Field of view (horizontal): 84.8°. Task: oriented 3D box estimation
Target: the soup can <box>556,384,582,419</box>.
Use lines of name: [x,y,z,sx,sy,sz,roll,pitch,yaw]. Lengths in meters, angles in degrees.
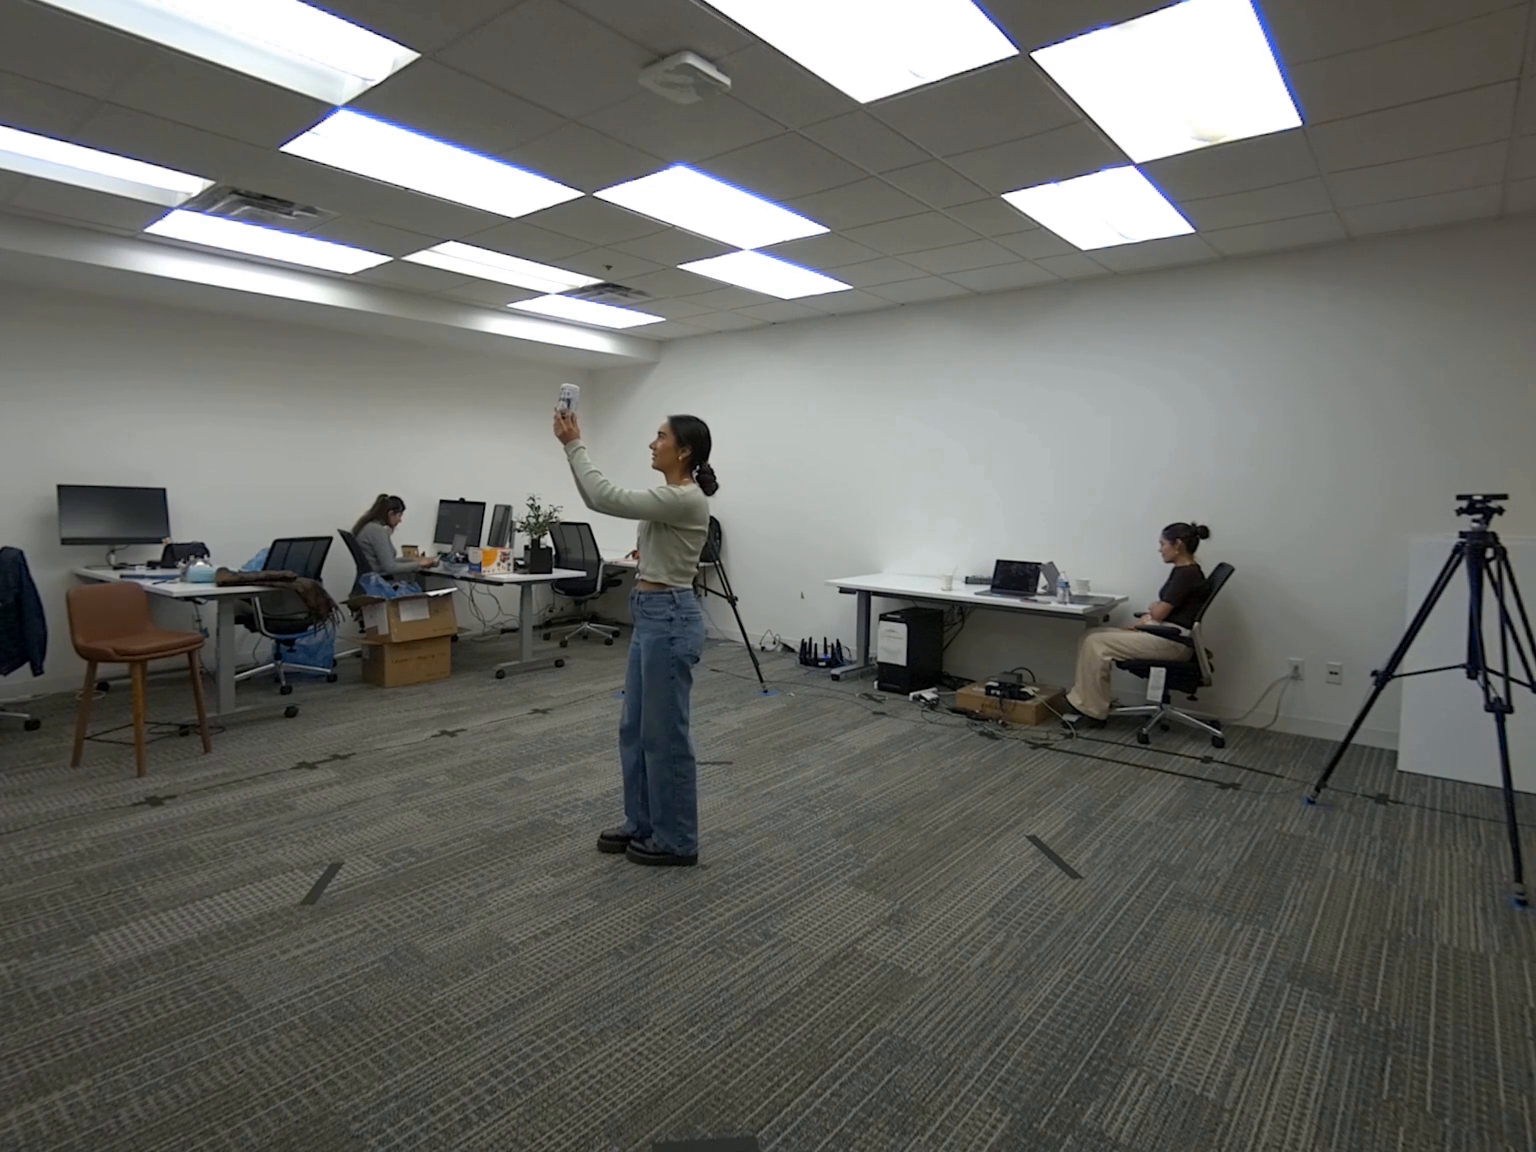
soup can: [-0.732,-0.632,3.071,0.067,0.122,0.067,7,-3,-2]
